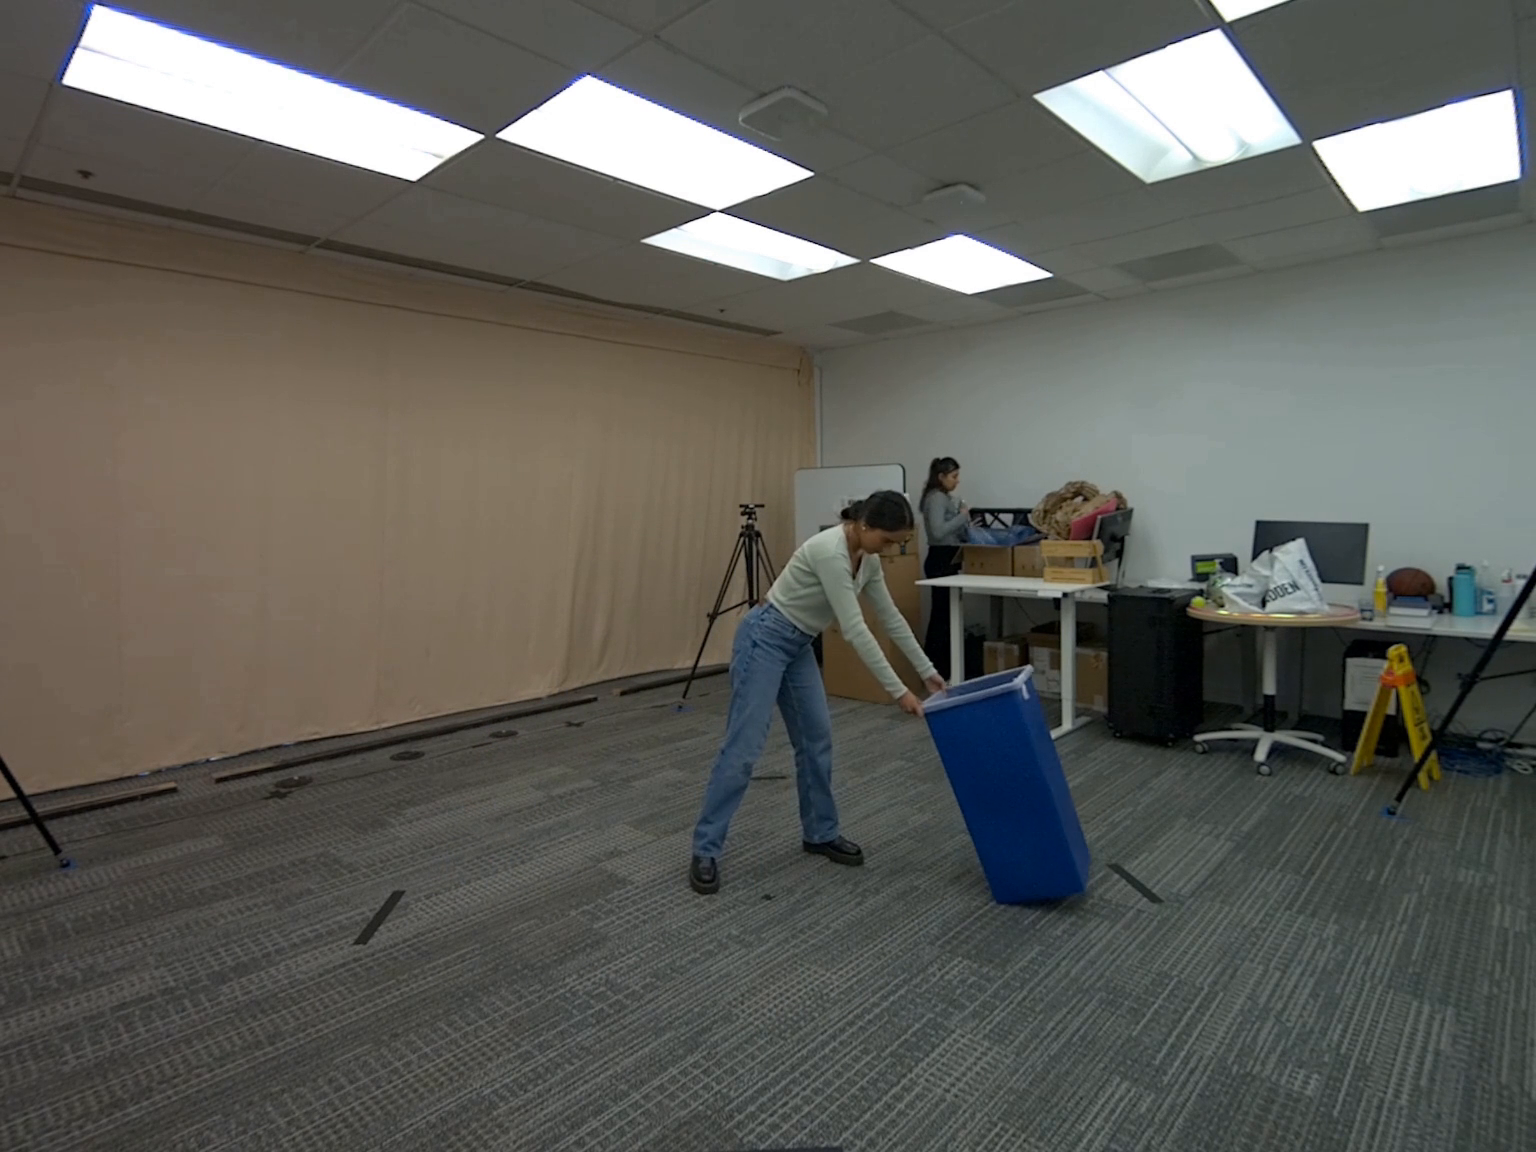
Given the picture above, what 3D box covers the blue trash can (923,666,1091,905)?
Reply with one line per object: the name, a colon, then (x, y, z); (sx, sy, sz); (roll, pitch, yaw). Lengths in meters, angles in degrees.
blue trash can: (0.849, 0.738, 3.005); (0.381, 0.718, 0.369); (-20, -6, 26)
